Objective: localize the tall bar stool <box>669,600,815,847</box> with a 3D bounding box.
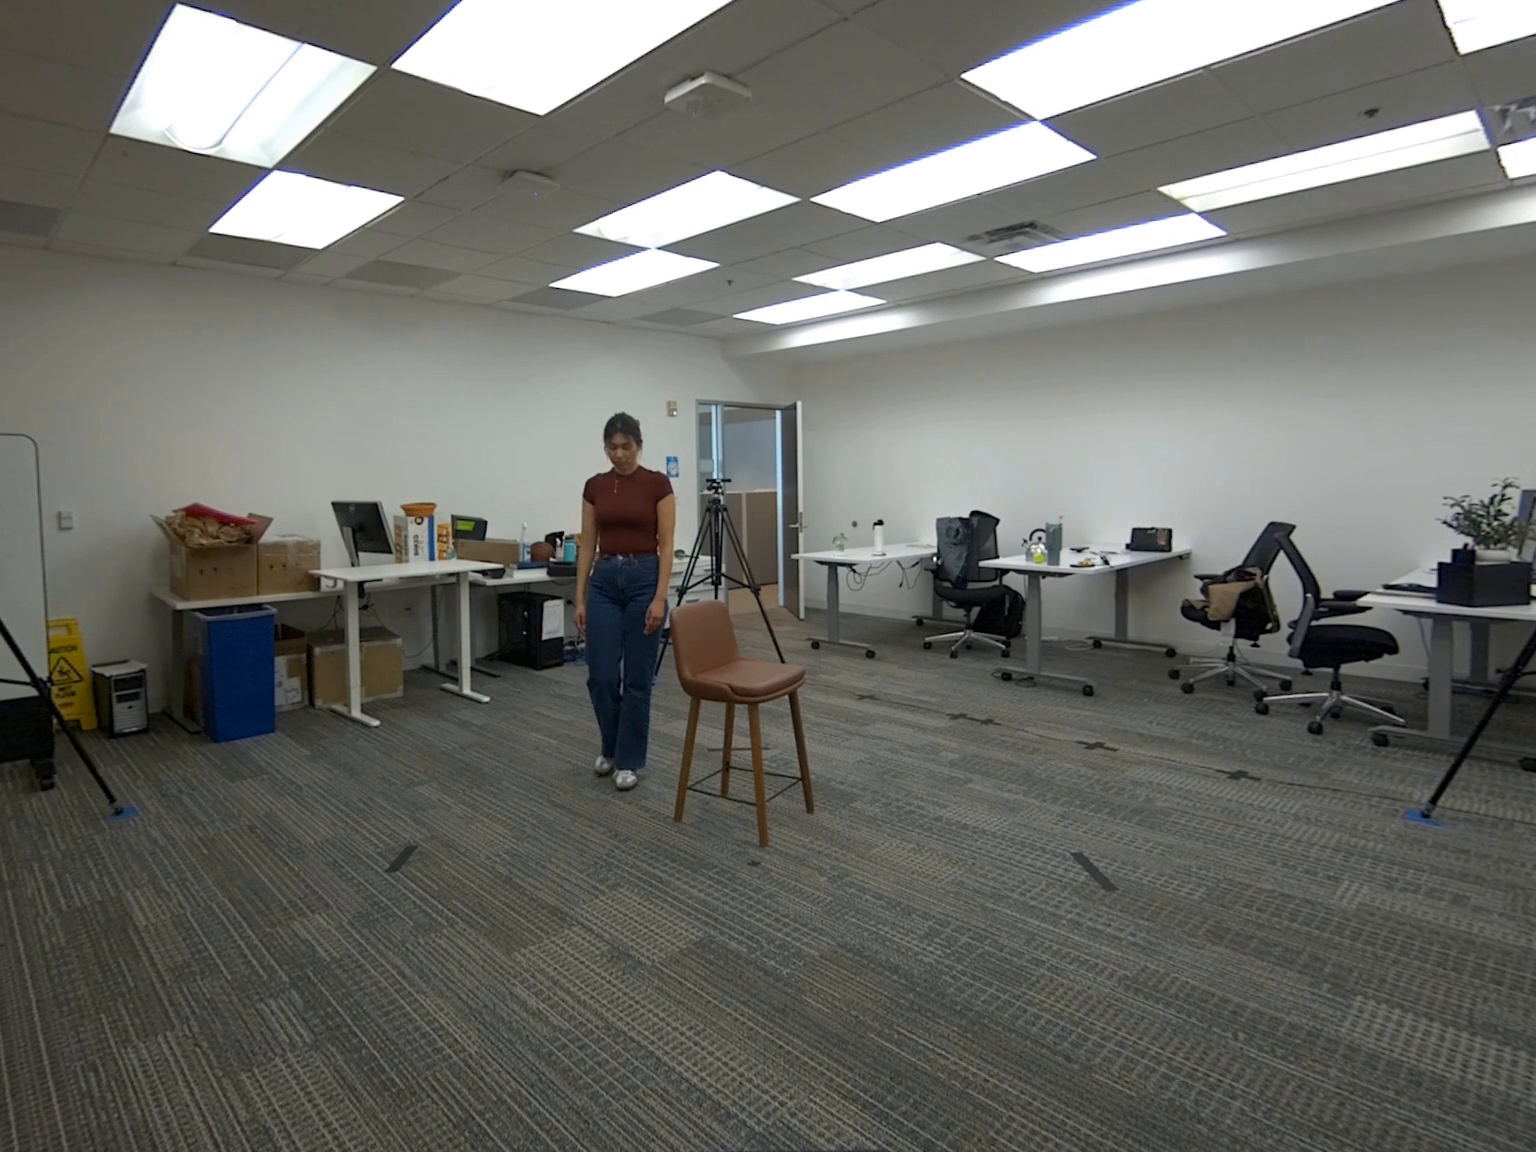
[{"bbox_3d":[-0.113,0.564,3.512,0.480,0.888,0.445,-1,3,33],"label":"tall bar stool"}]
